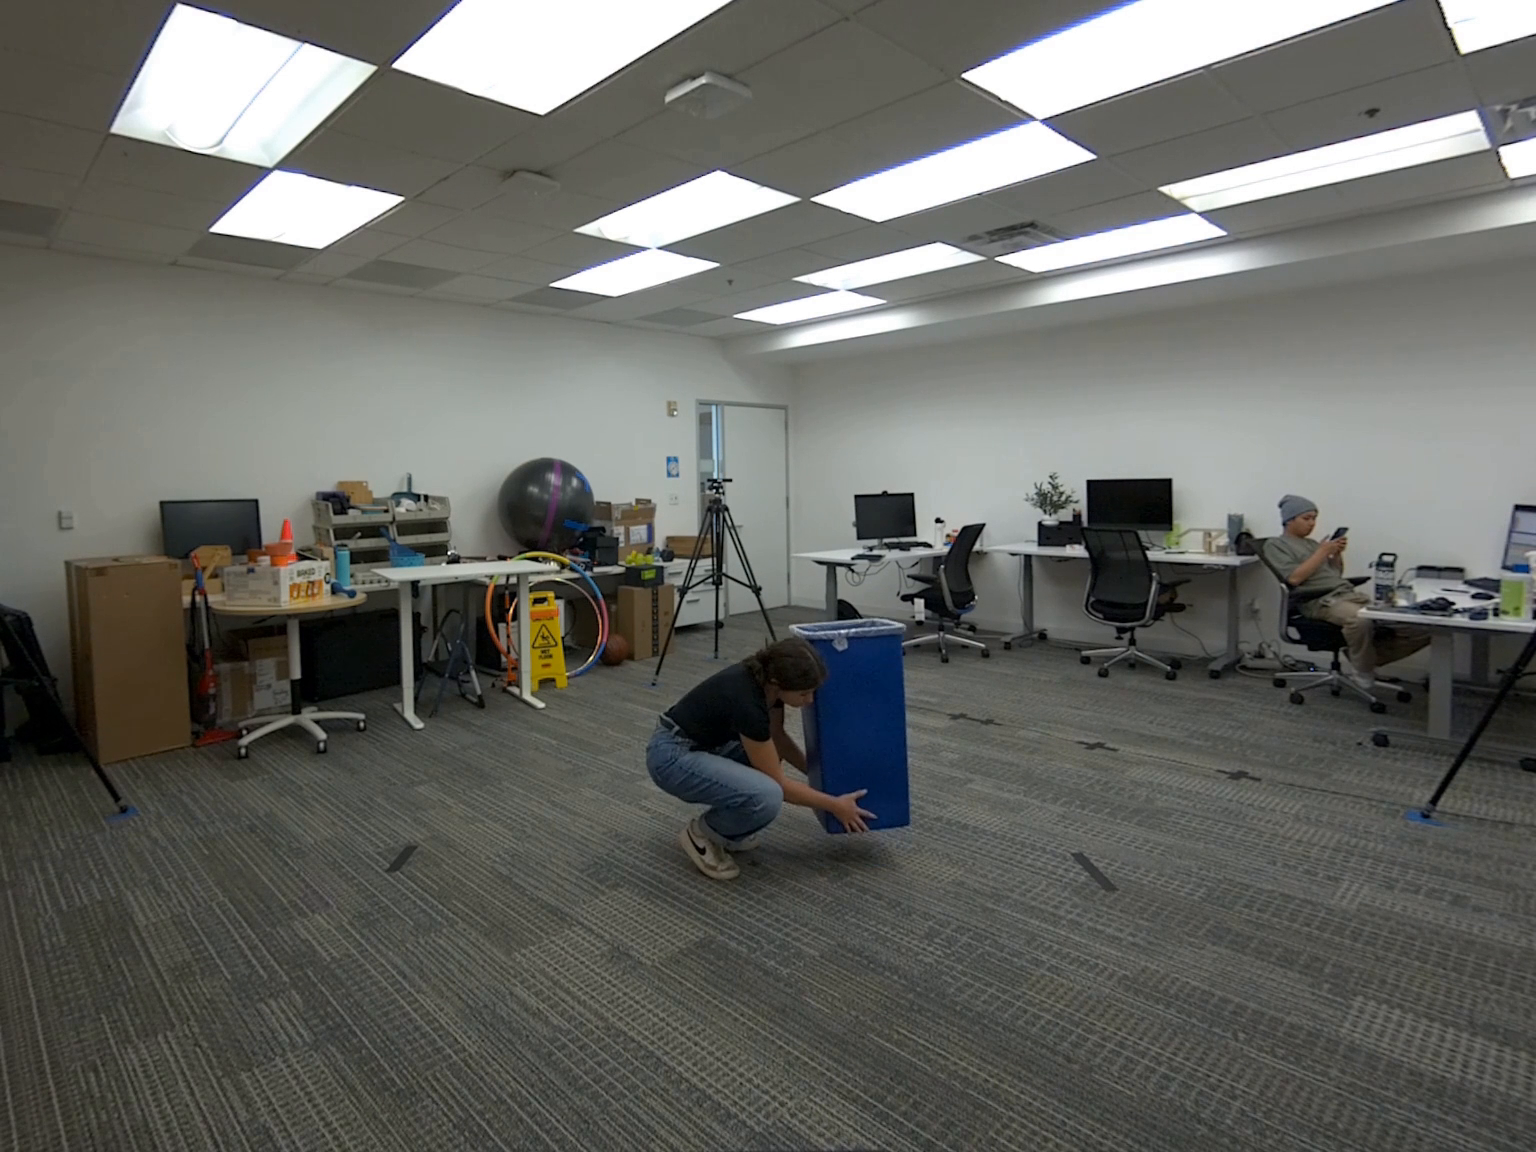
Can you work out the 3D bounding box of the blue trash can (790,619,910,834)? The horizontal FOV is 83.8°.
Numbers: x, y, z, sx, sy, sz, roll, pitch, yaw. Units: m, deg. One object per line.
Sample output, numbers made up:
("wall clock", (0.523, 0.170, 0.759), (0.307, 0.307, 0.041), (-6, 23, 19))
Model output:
("blue trash can", (0.311, 0.533, 3.185), (0.375, 0.714, 0.376), (-3, 0, -8))
